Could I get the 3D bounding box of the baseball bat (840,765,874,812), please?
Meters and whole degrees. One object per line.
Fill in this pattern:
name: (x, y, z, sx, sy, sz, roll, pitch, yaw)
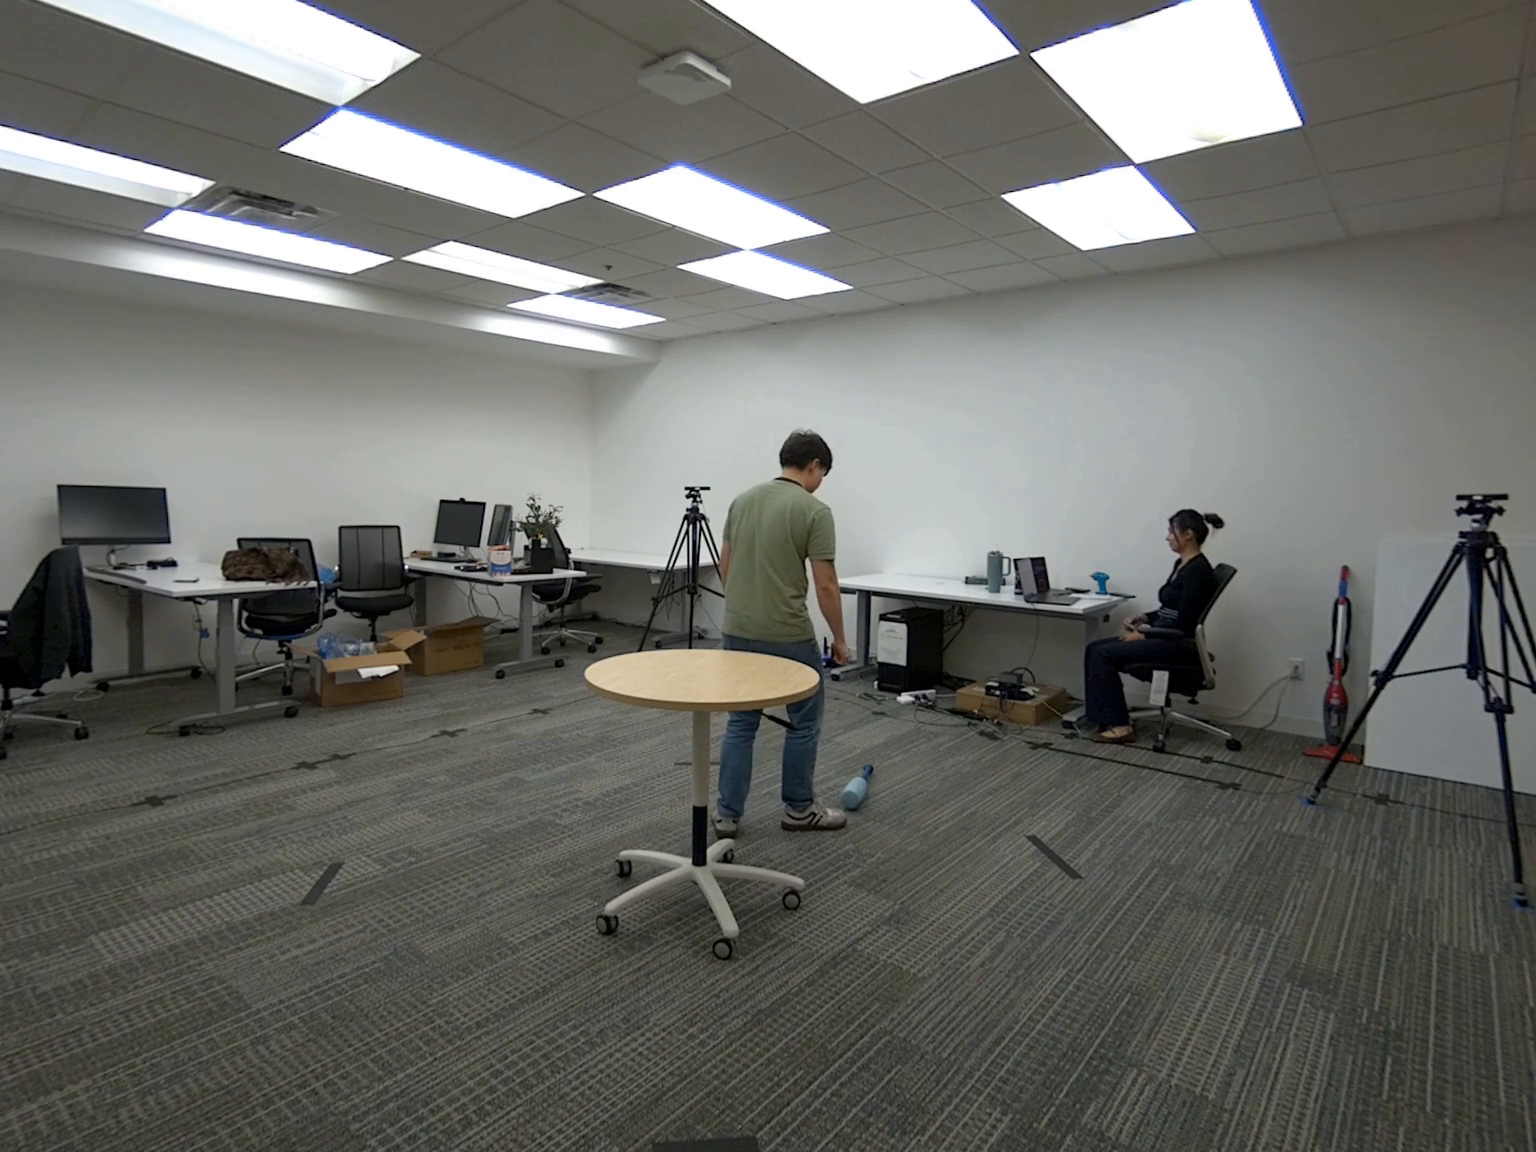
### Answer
baseball bat: (0.421, 0.958, 3.937, 0.091, 0.089, 0.533, 2, 3, 16)
